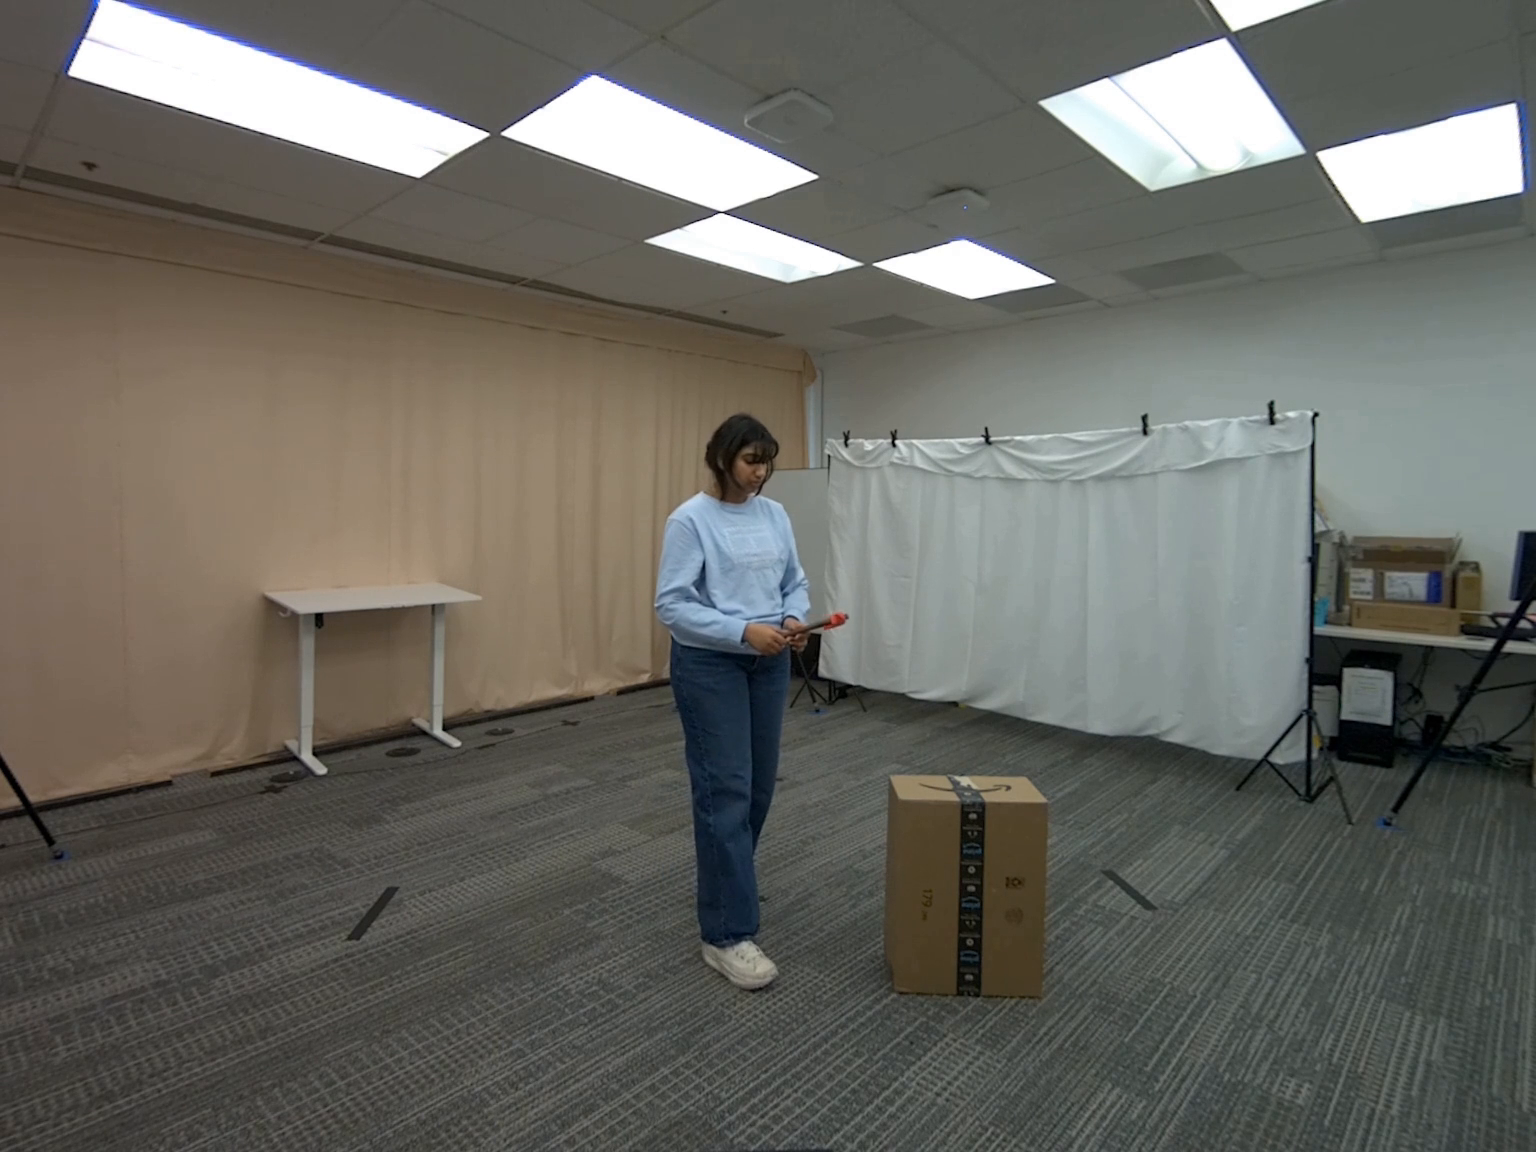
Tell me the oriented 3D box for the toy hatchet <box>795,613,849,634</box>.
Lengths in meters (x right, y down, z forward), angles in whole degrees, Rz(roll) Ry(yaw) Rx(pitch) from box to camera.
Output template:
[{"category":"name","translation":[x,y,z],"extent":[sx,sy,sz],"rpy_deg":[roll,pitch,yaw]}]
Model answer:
[{"category":"toy hatchet","translation":[0.097,0.163,2.528],"extent":[0.275,0.030,0.127],"rpy_deg":[-17,-15,24]}]
